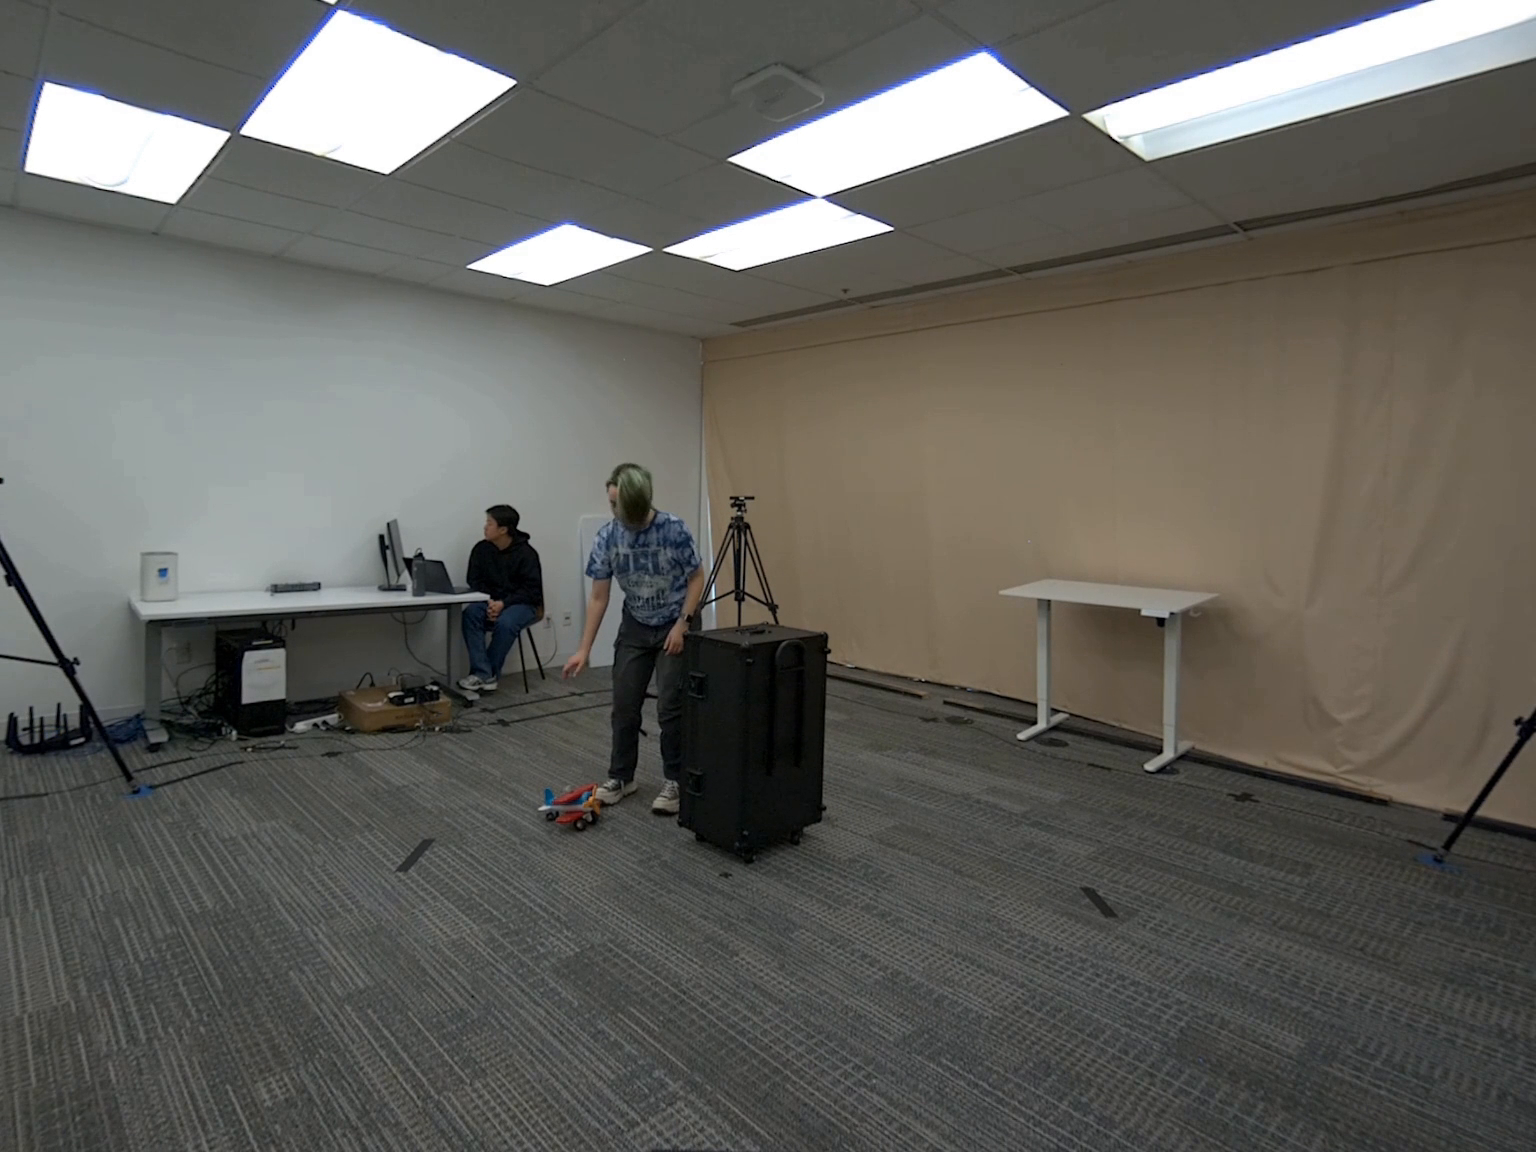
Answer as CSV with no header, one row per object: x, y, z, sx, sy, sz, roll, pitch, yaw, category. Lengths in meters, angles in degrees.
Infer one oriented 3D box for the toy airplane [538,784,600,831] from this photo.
-0.844,0.963,3.537,0.259,0.156,0.252,2,5,-3,toy airplane
